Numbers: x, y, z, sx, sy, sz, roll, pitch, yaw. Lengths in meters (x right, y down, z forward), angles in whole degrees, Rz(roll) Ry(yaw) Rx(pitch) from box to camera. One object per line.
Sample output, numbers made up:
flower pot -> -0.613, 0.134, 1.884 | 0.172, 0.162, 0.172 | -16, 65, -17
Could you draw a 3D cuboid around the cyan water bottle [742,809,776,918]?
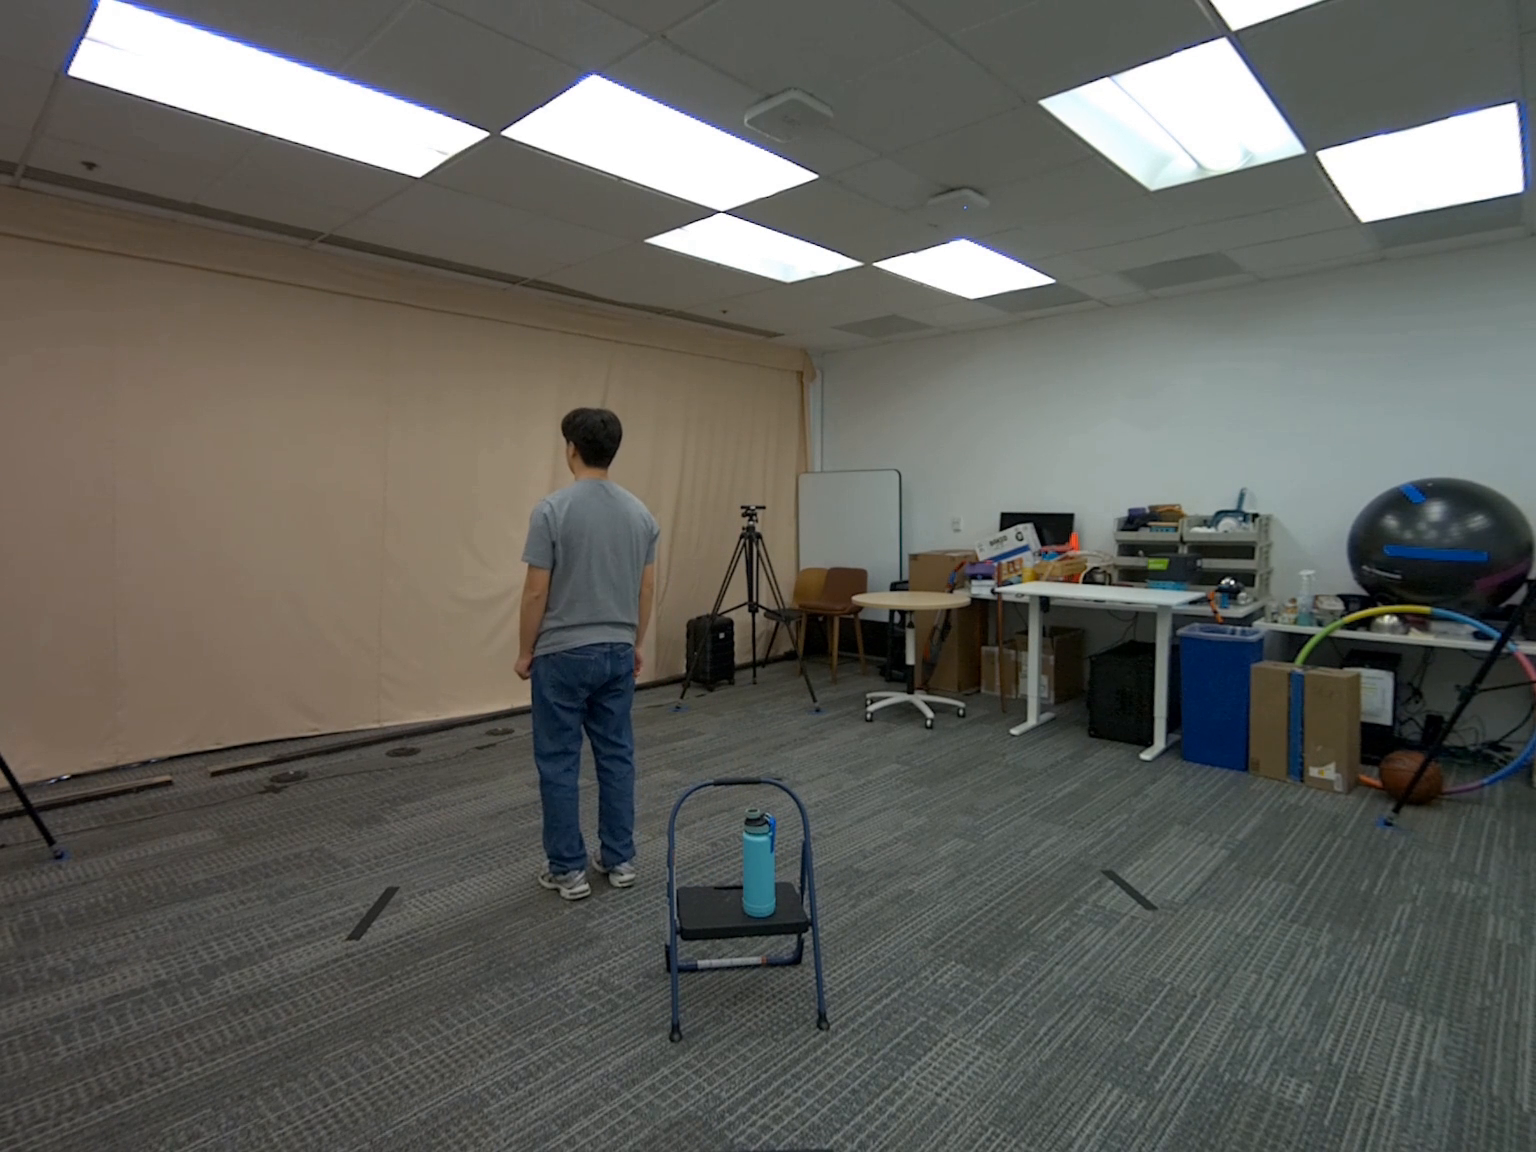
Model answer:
cyan water bottle -> -0.024, 0.793, 2.342 | 0.092, 0.283, 0.093 | 3, 4, -2
